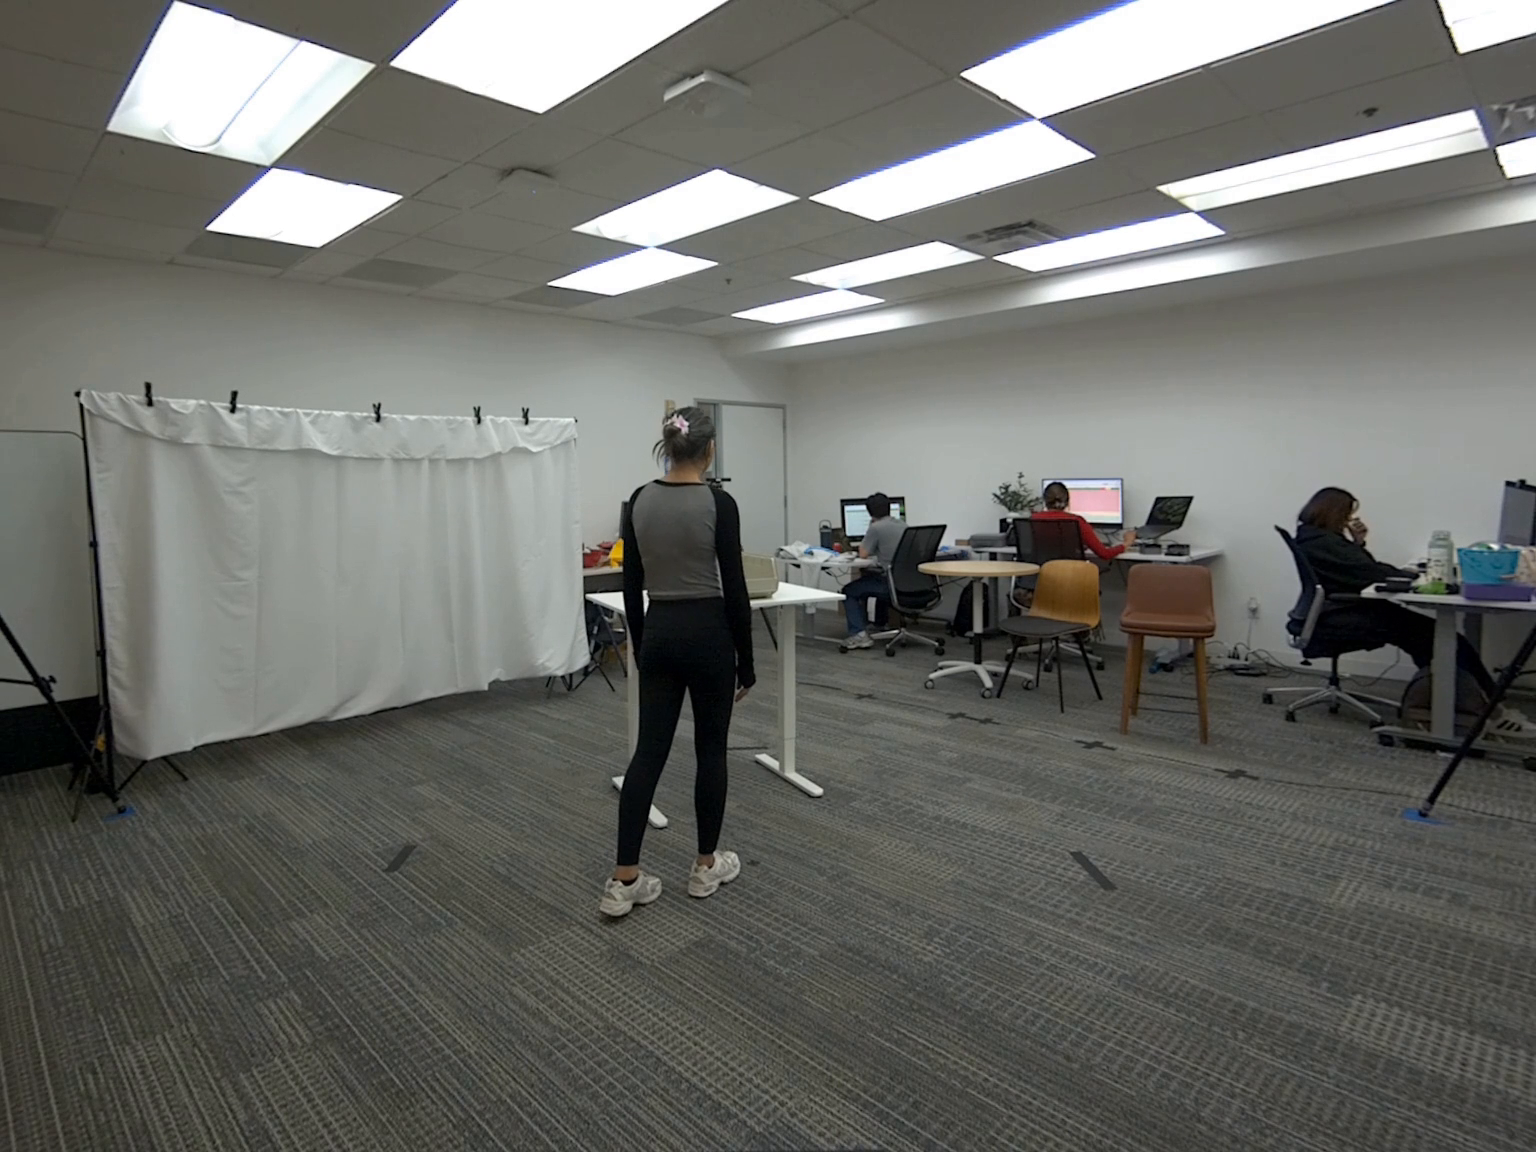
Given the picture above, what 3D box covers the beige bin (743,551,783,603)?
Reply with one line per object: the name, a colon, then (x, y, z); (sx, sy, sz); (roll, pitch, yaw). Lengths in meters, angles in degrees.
beige bin: (-0.222, 0.006, 3.723); (0.413, 0.188, 0.387); (-5, 6, -28)
